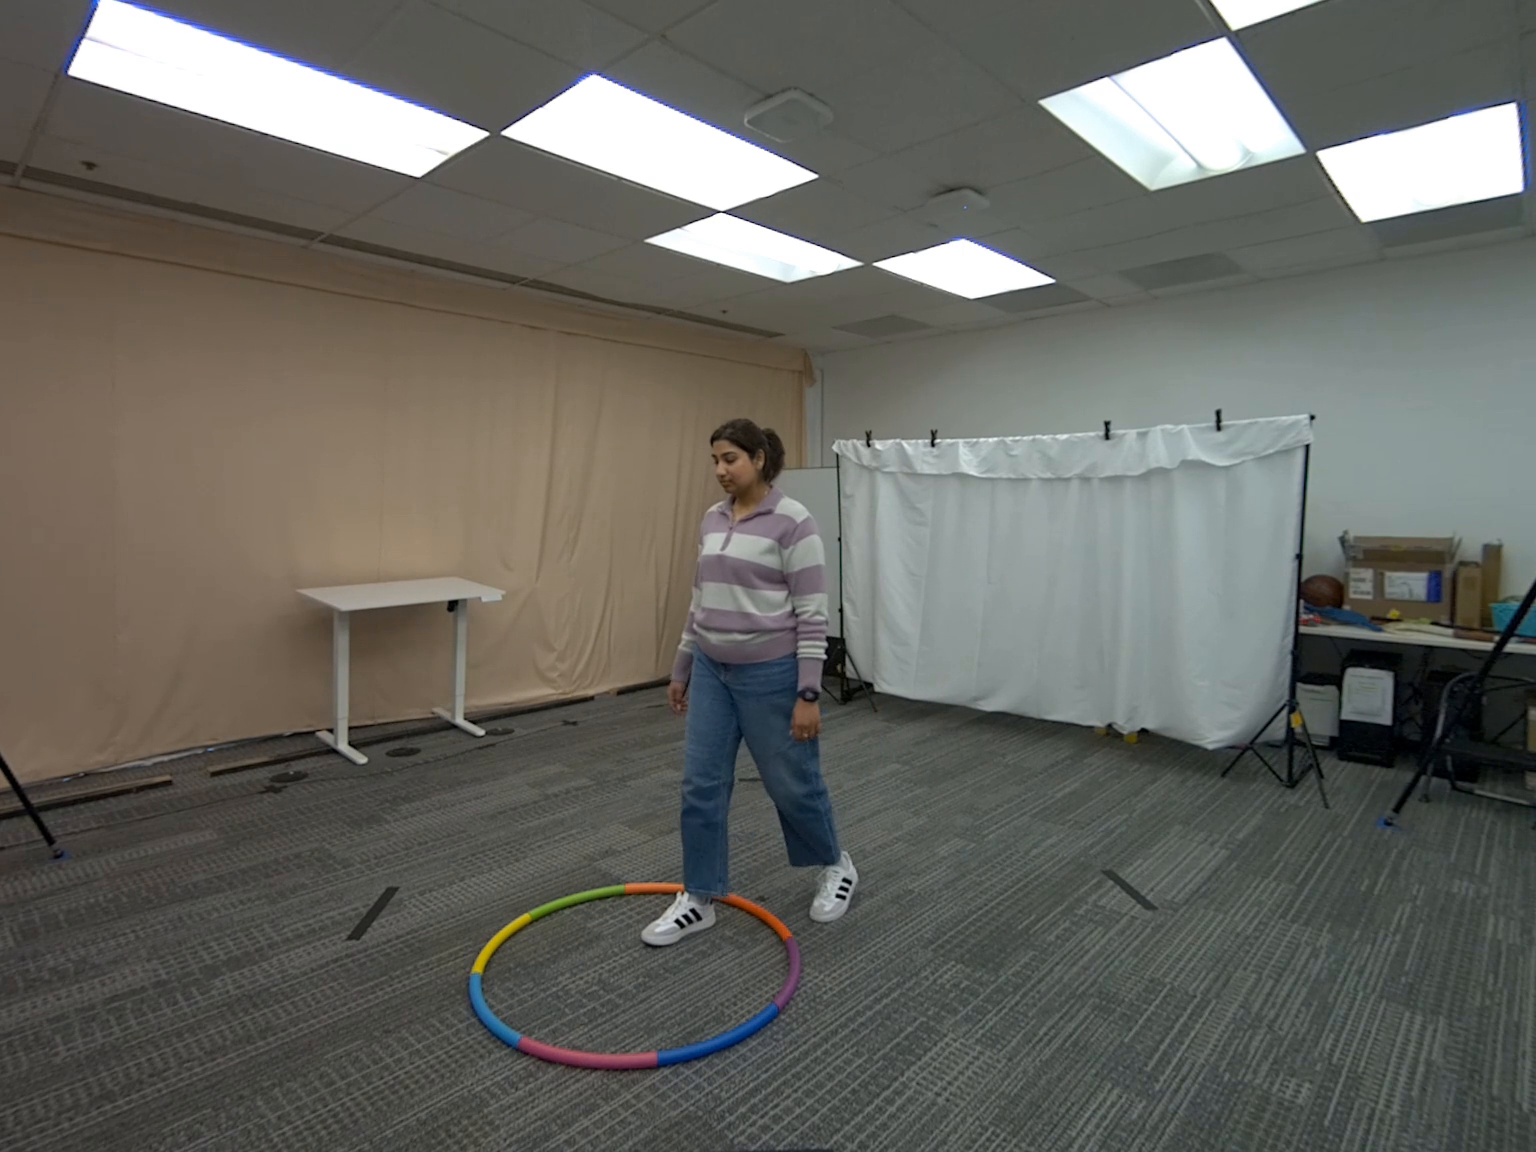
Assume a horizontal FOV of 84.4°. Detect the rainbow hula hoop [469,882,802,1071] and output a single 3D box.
[{"bbox_3d":[-0.392,1.154,2.561,0.978,0.035,0.982,-1,5,-2],"label":"rainbow hula hoop"}]
